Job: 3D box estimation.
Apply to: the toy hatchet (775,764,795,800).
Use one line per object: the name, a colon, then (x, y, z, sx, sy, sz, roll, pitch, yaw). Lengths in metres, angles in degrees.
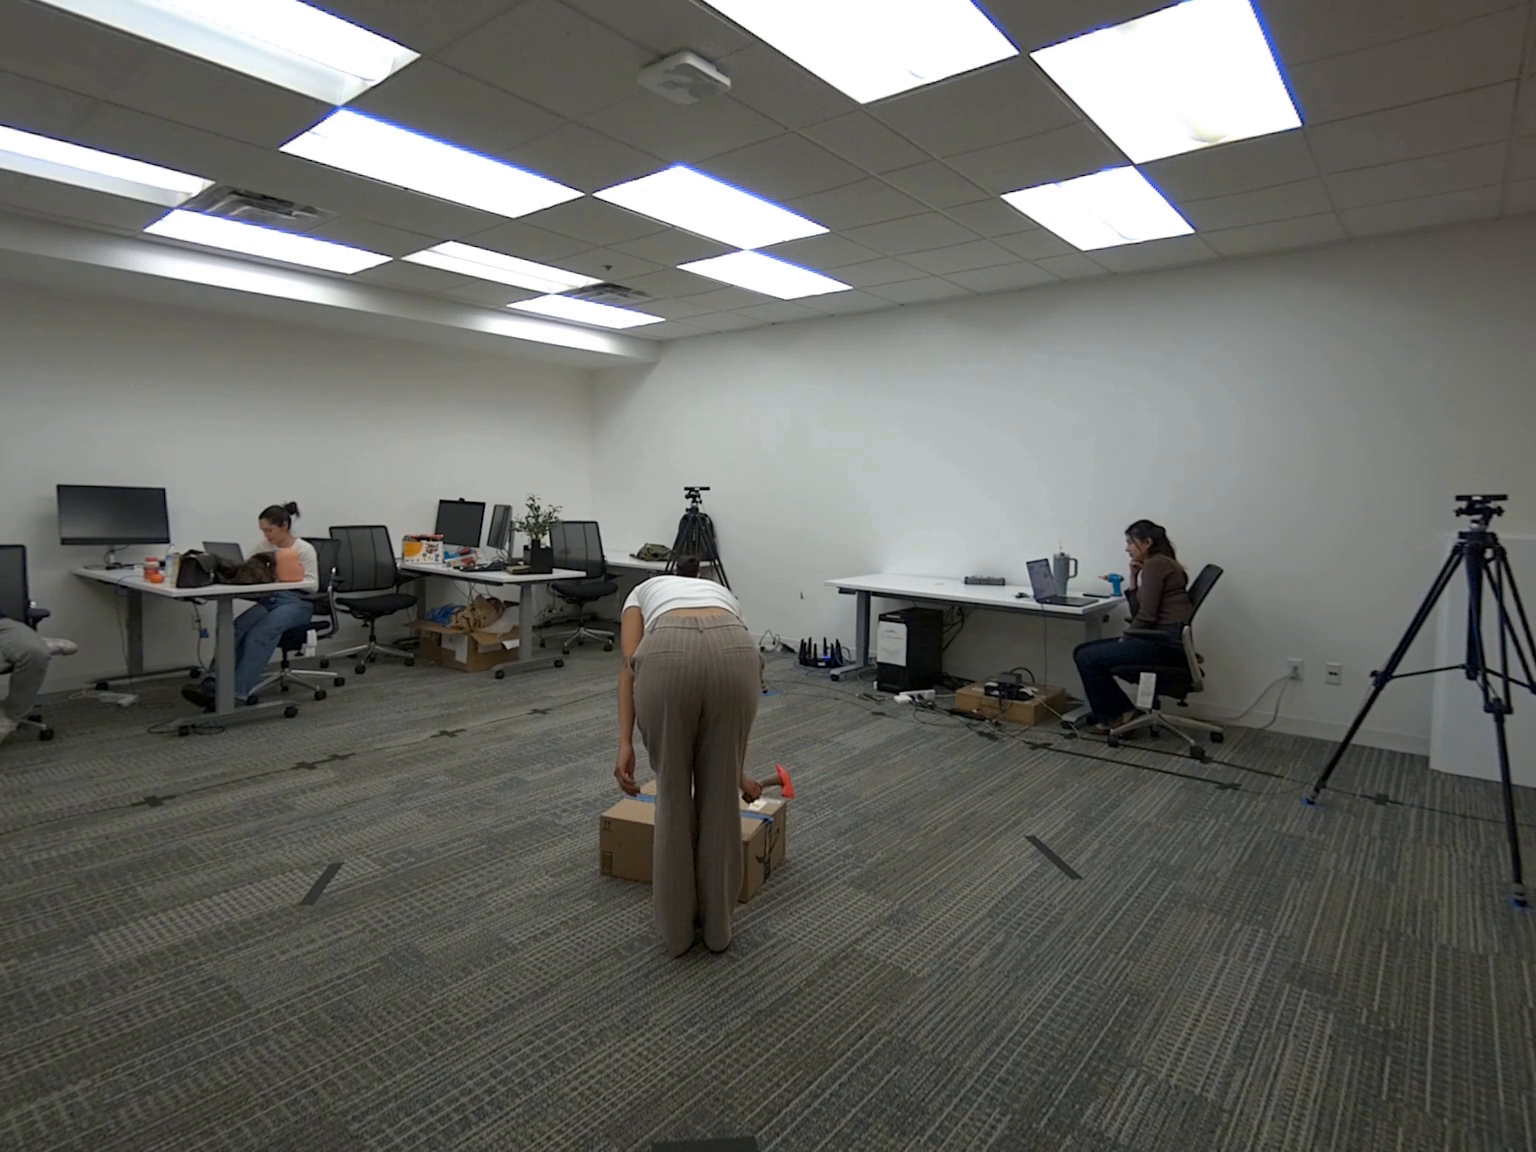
toy hatchet: (0.000, 0.760, 3.010, 0.029, 0.133, 0.265, -47, -13, 31)
